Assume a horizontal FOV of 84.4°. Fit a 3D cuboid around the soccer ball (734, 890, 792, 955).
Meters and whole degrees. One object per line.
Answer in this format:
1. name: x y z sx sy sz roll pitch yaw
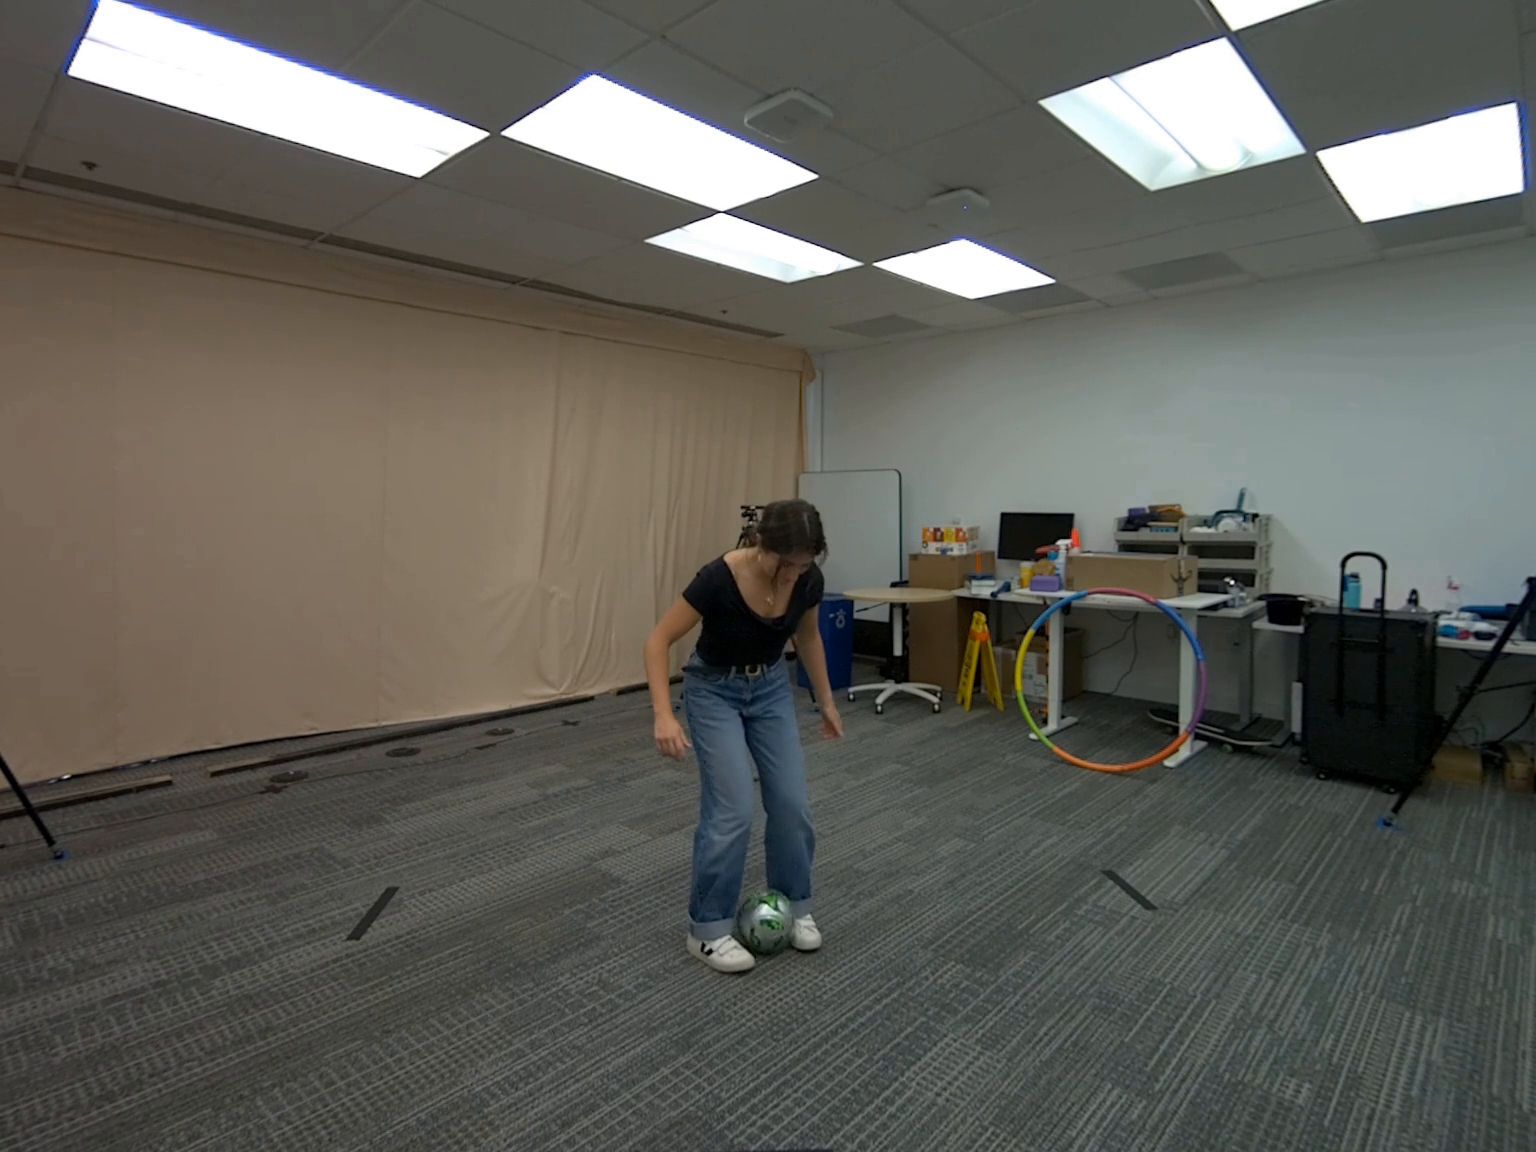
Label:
1. soccer ball: -0.003 1.085 2.631 0.187 0.187 0.188 0 4 -2
